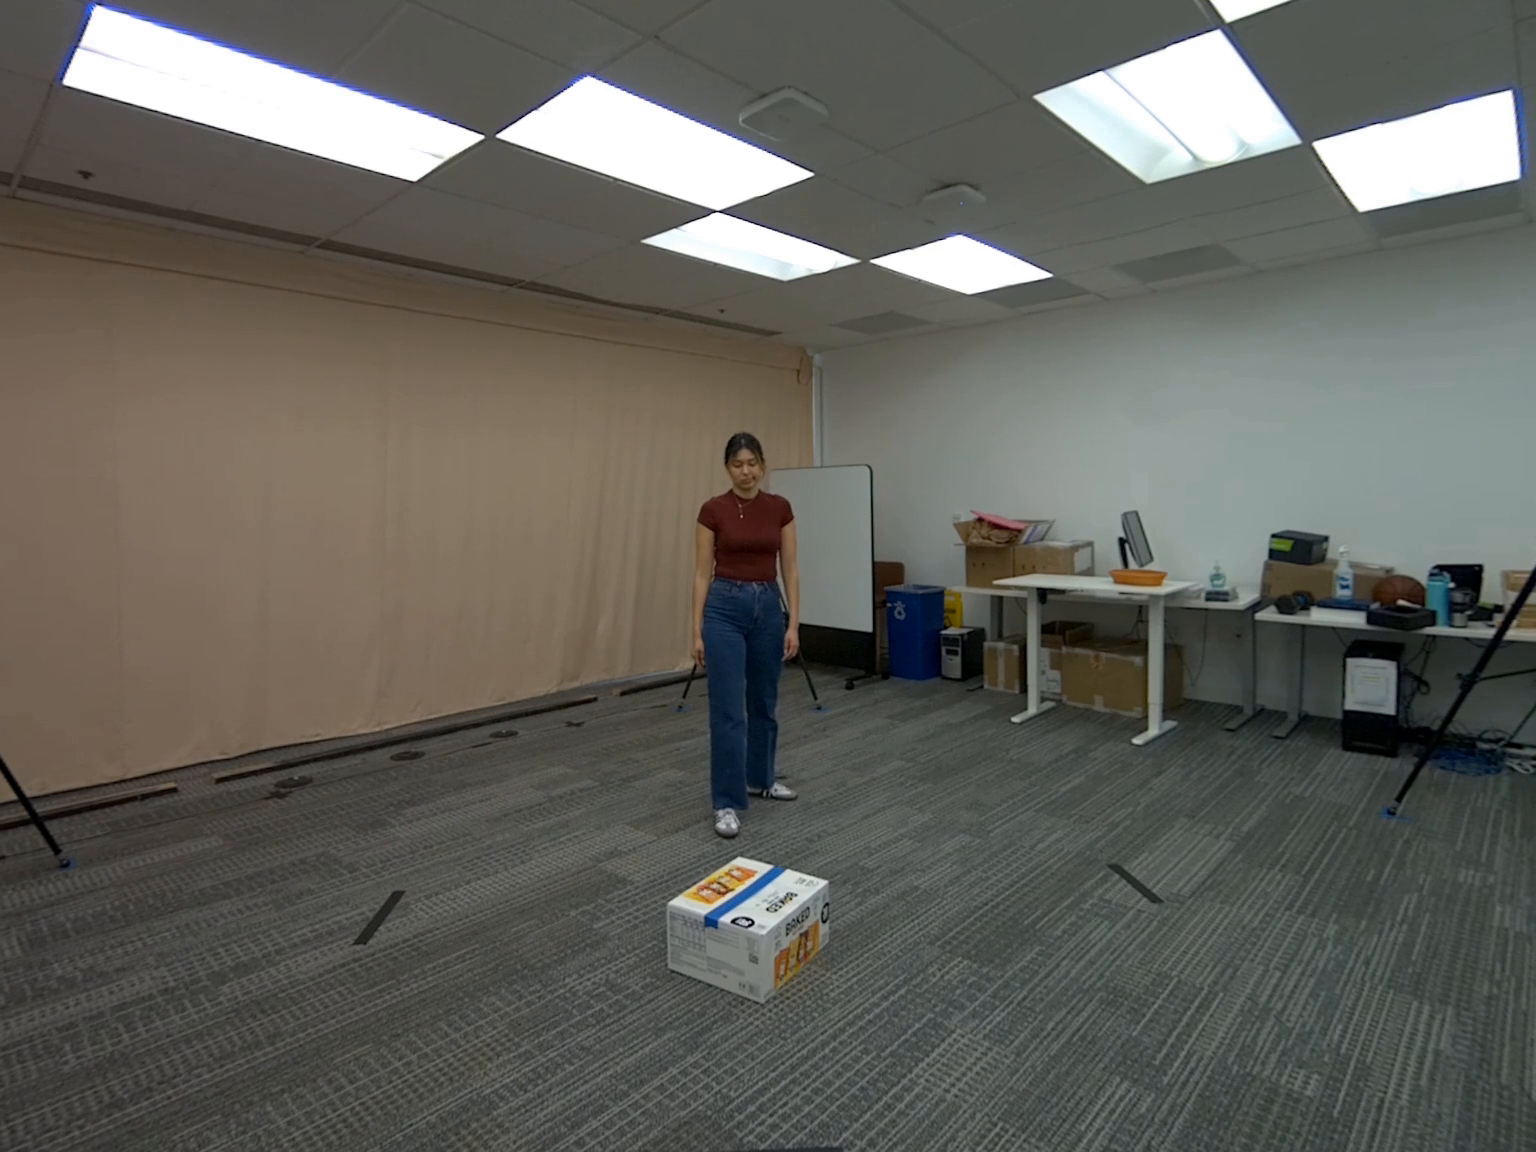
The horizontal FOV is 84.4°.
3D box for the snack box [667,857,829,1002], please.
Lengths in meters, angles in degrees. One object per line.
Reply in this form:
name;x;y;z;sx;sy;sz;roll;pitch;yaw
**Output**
snack box;-0.054;1.066;2.595;0.350;0.205;0.394;1;5;33
